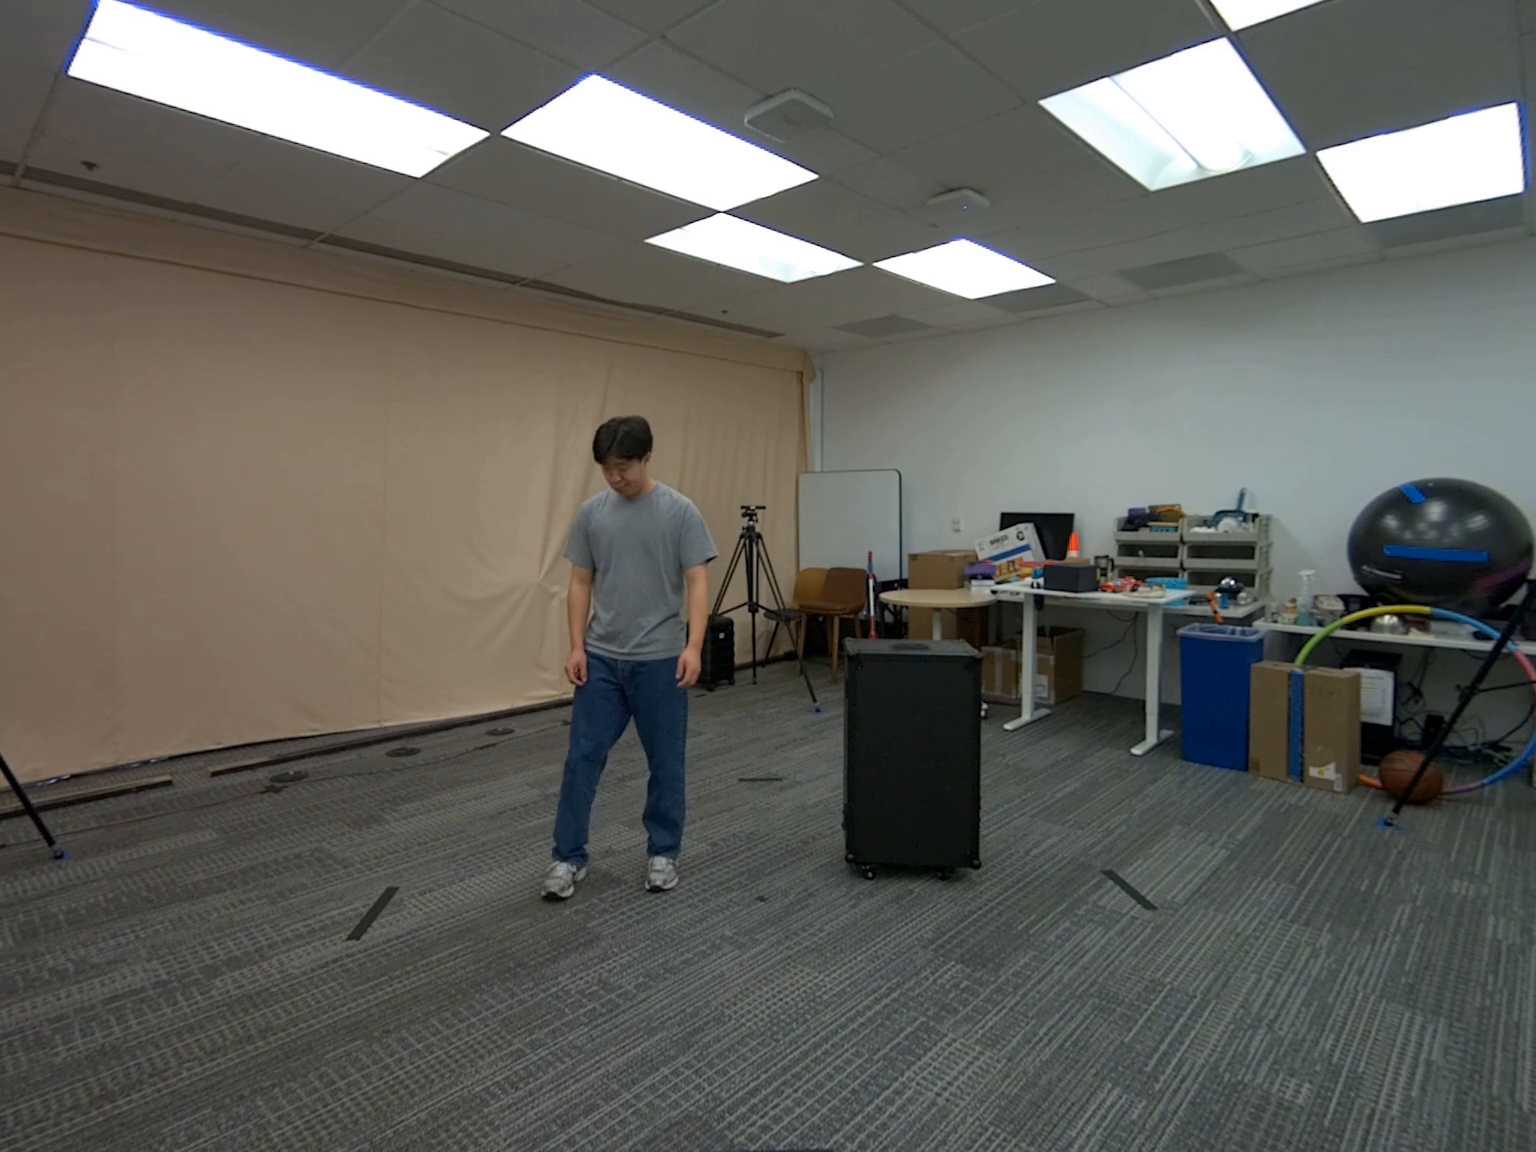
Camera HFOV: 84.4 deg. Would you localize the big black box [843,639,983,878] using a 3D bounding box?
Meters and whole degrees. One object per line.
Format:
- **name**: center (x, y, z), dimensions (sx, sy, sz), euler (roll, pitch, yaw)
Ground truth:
- **big black box**: center (0.540, 0.693, 3.254), dimensions (0.525, 0.860, 0.394), euler (1, 2, 5)
